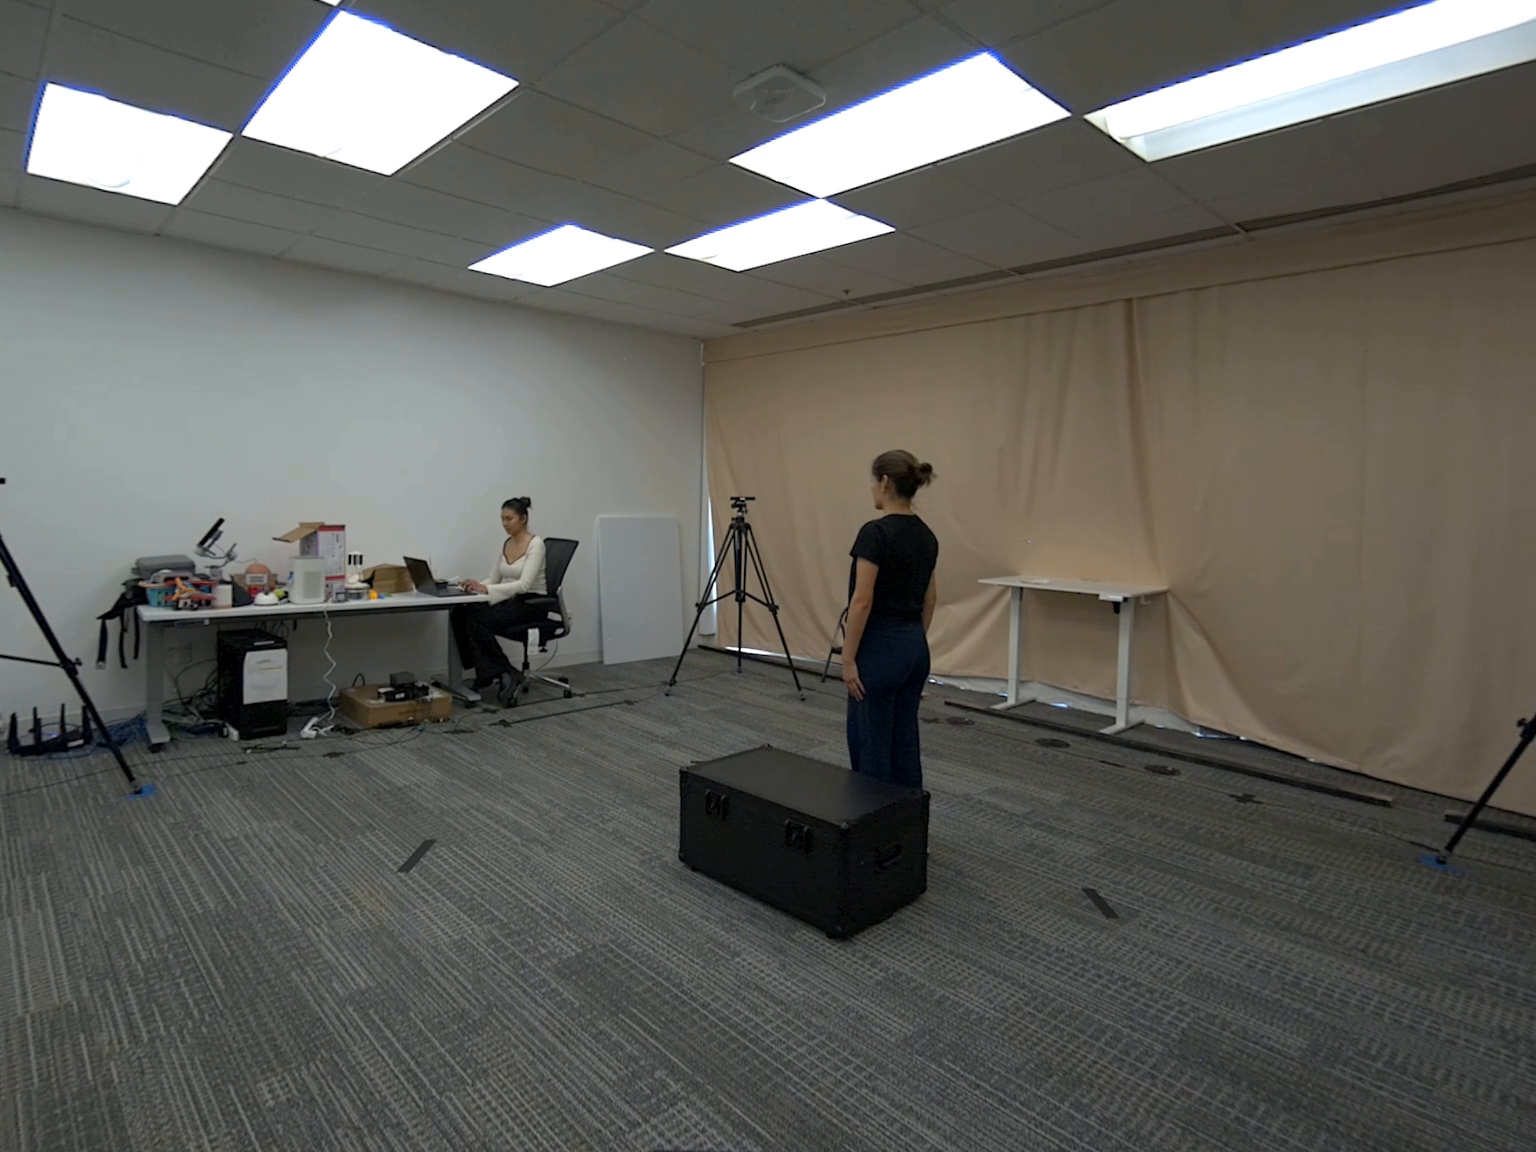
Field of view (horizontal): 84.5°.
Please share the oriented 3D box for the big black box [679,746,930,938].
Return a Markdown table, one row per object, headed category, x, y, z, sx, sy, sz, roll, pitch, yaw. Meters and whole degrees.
| category | x | y | z | sx | sy | sz | roll | pitch | yaw |
| --- | --- | --- | --- | --- | --- | --- | --- | --- | --- |
| big black box | 0.088 | 0.927 | 3.068 | 0.884 | 0.395 | 0.509 | 7 | 6 | 43 |
